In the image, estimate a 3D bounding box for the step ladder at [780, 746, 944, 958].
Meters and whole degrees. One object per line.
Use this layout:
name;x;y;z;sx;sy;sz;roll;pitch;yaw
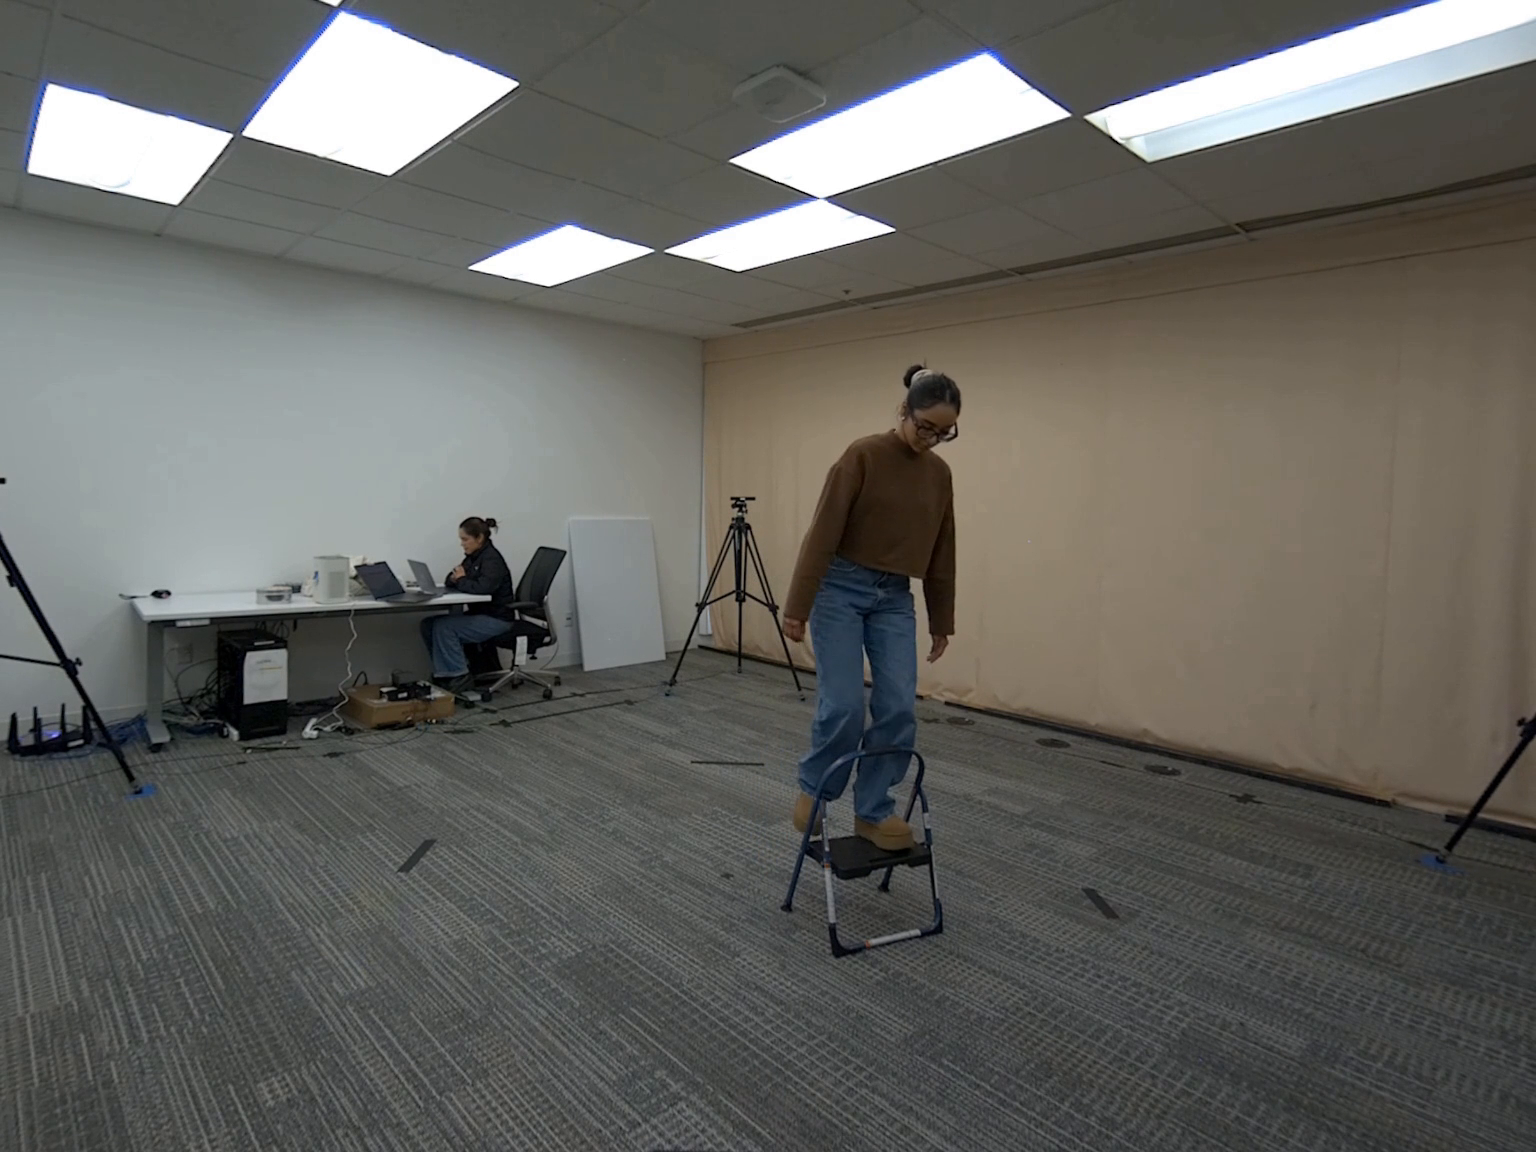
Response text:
step ladder;0.313;0.846;2.778;0.422;0.604;0.357;0;4;-27
